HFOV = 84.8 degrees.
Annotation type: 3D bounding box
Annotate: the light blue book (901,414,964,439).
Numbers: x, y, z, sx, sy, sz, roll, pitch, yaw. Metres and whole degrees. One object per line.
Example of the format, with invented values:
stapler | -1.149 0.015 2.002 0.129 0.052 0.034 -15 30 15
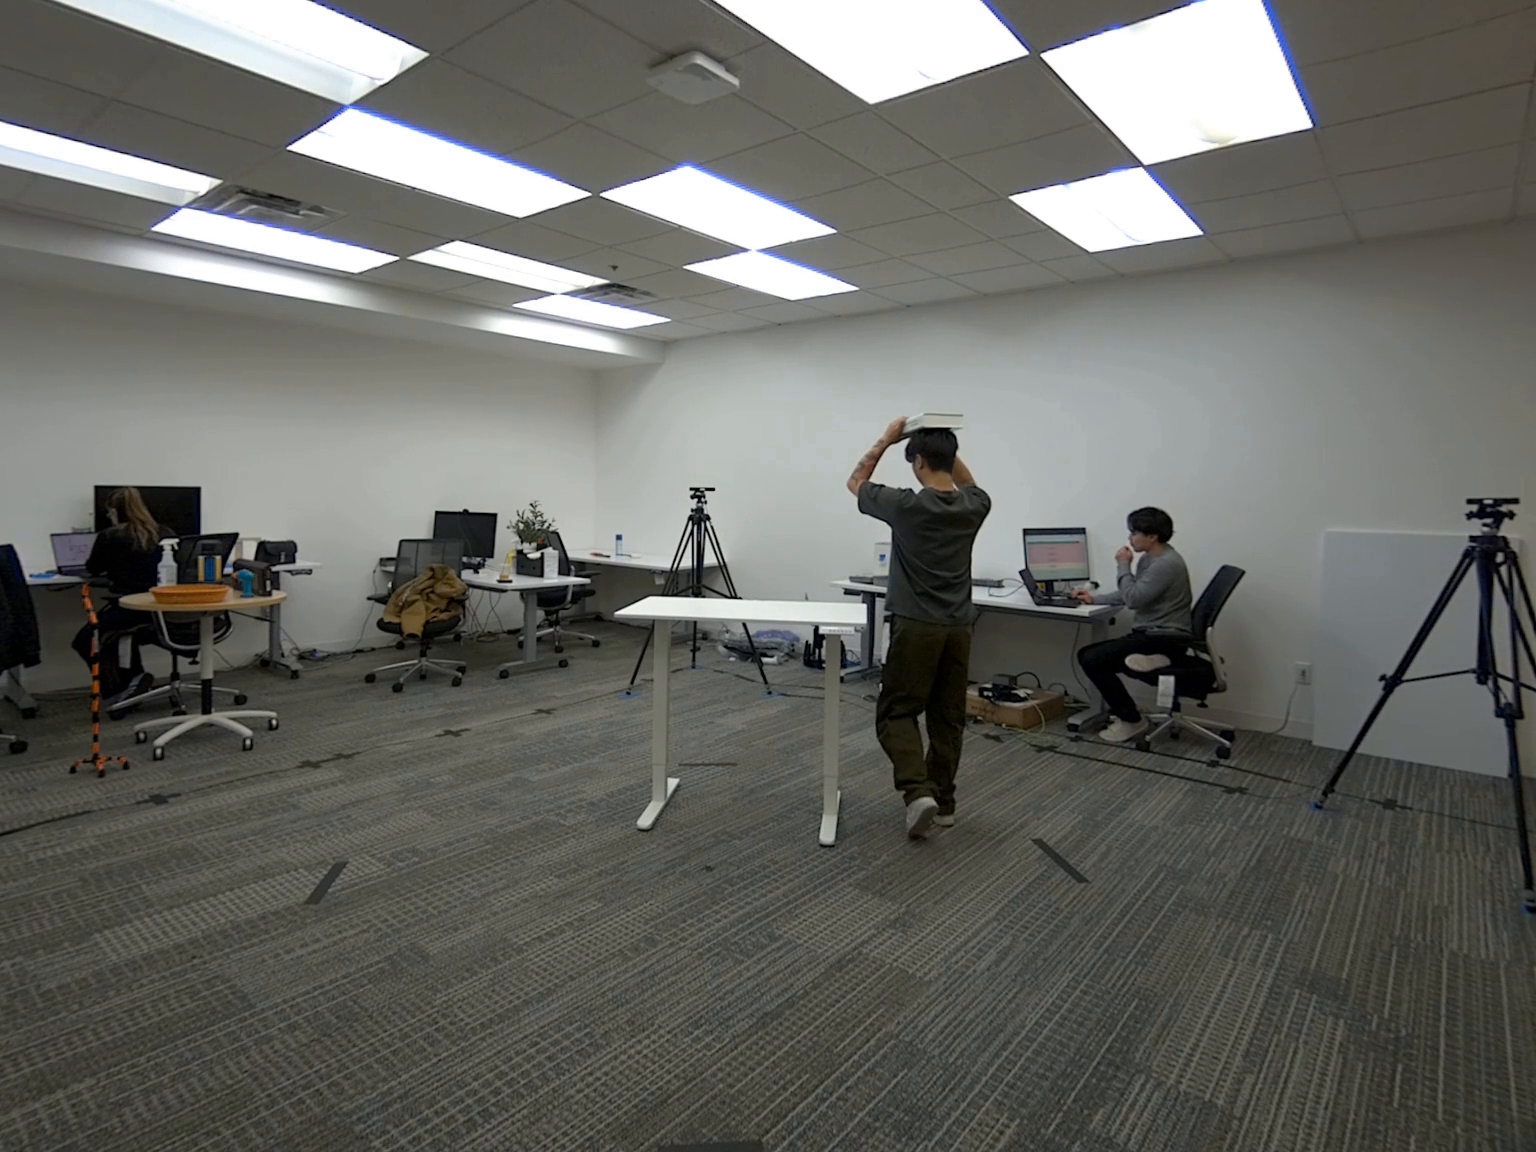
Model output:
light blue book | 0.675 -0.644 3.607 0.188 0.059 0.265 -2 1 -15
